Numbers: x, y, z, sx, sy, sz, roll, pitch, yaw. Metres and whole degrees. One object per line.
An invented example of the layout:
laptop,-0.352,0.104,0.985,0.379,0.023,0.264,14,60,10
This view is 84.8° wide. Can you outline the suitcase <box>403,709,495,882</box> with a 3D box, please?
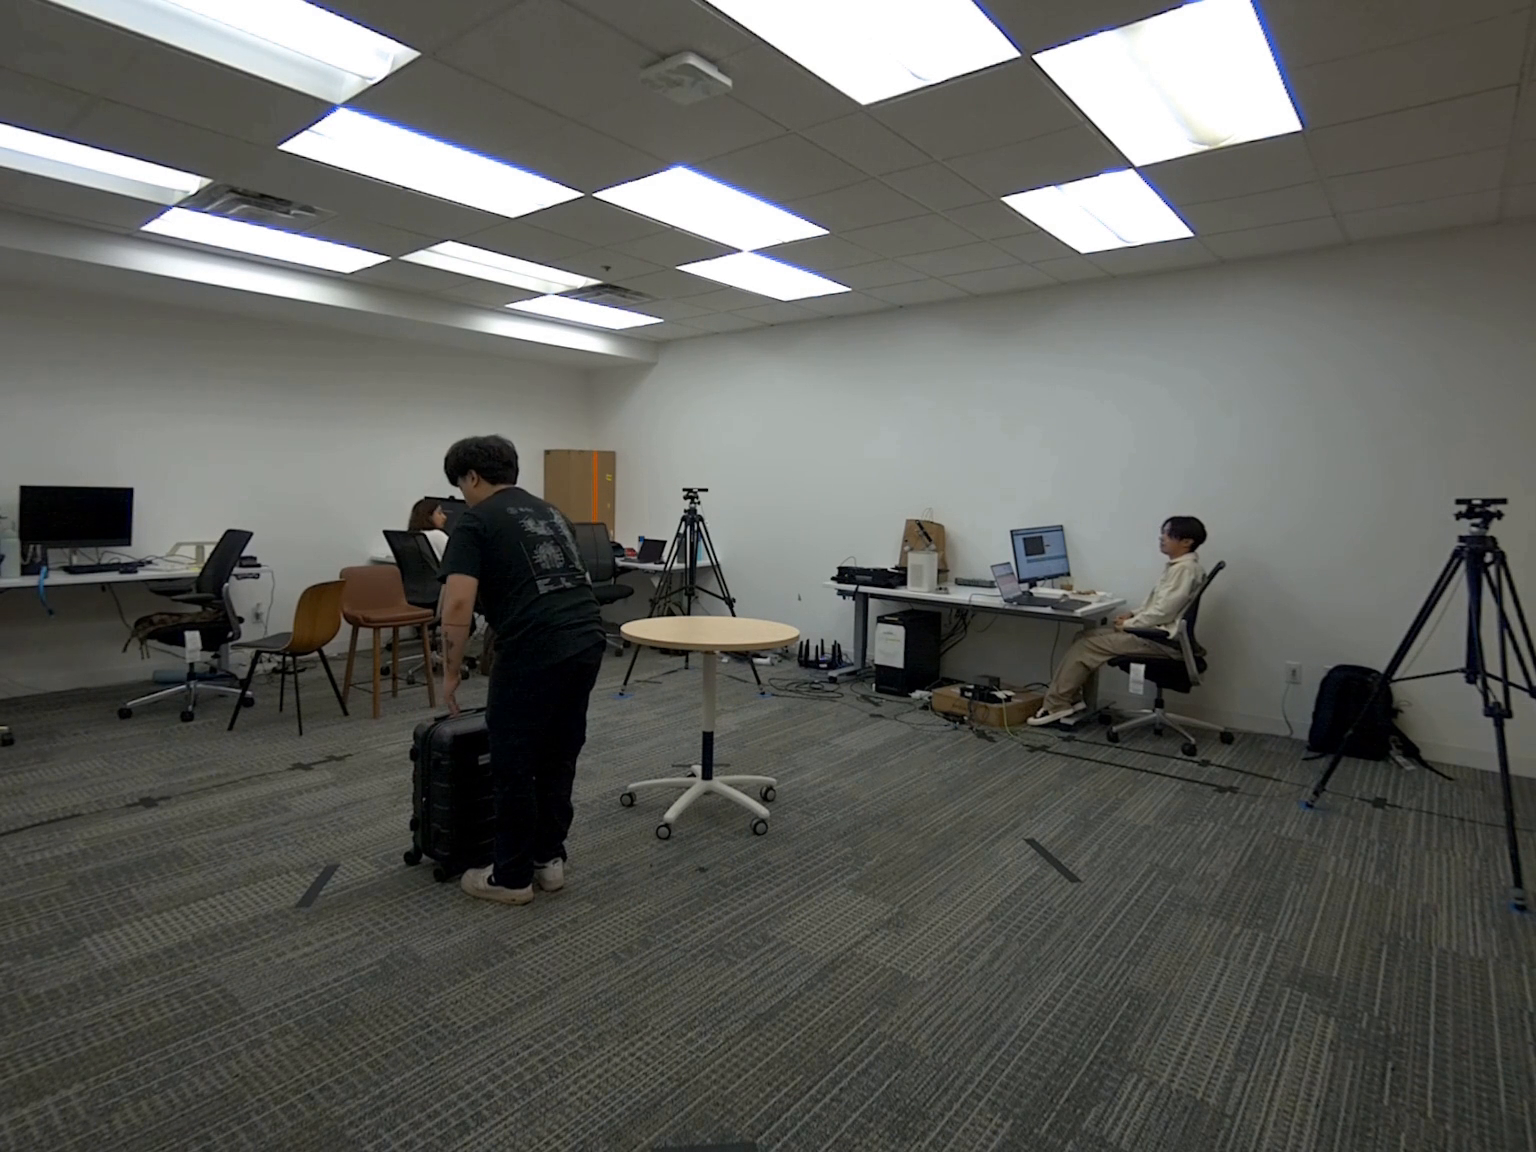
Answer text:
suitcase,-1.122,0.776,3.140,0.257,0.547,0.364,6,7,40
